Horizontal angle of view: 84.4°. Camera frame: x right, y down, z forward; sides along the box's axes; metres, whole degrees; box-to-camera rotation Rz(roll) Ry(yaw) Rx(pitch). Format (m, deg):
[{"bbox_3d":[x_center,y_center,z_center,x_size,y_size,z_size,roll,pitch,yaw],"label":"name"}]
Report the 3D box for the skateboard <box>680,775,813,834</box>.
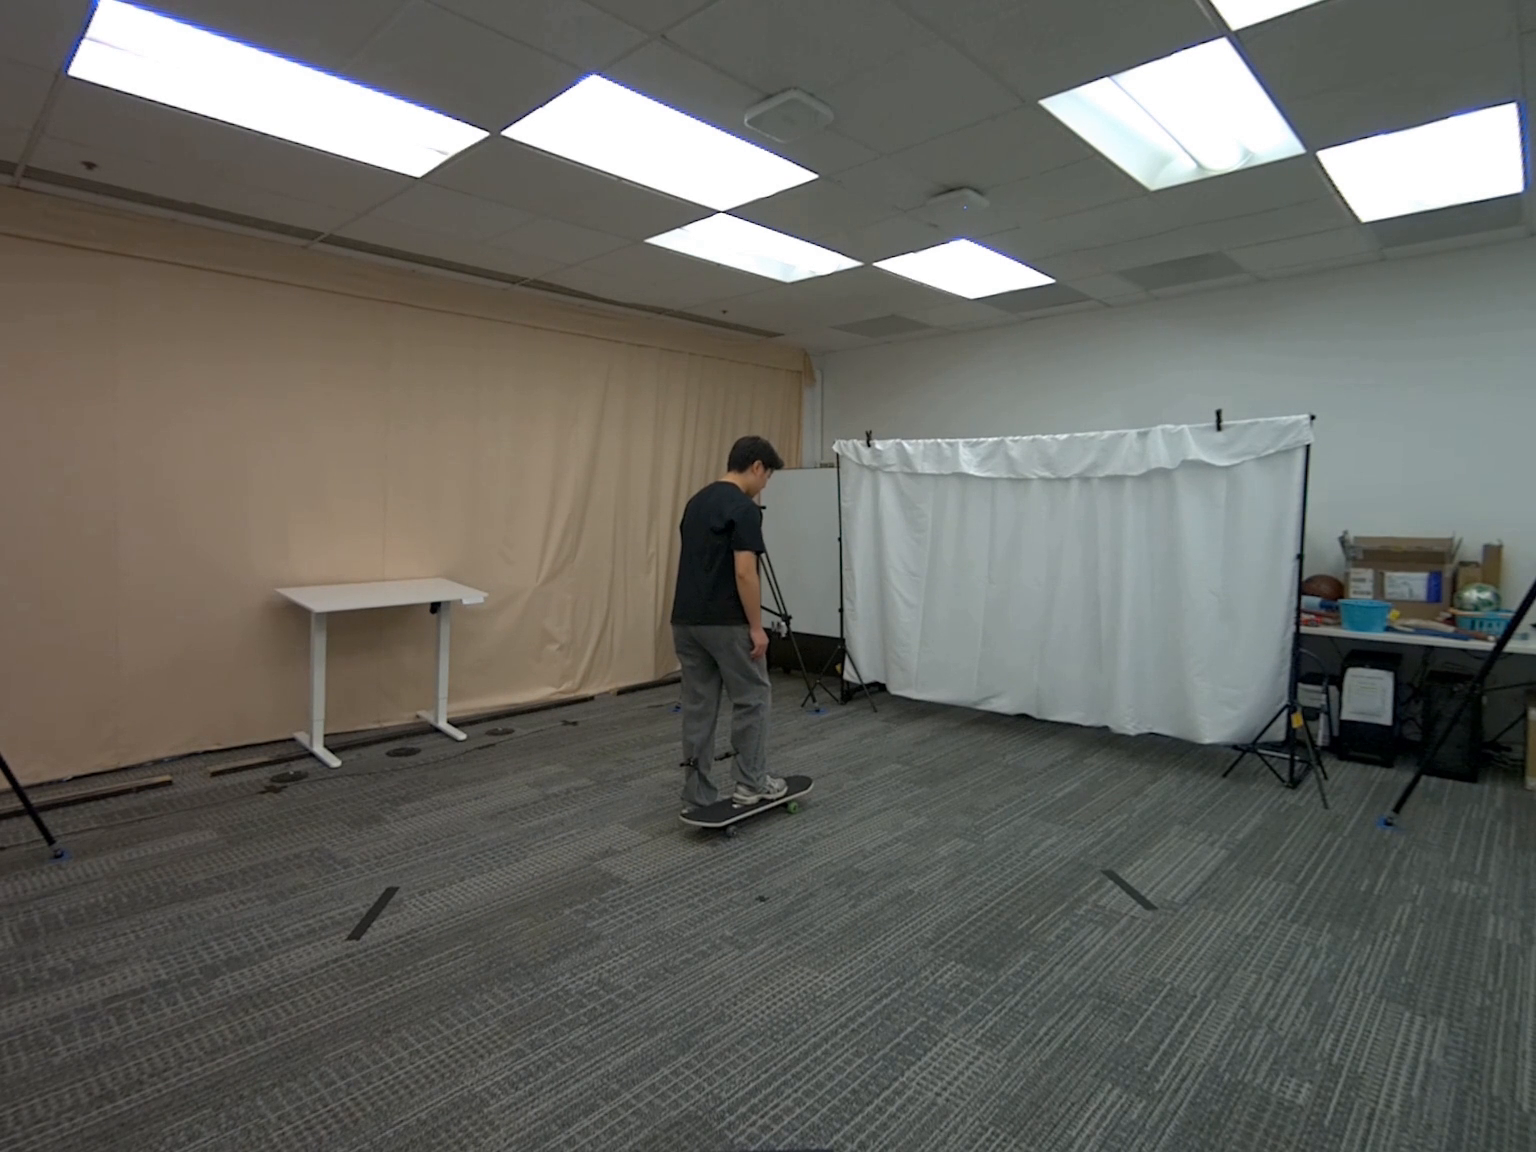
[{"bbox_3d":[-0.071,1.035,3.729,0.200,0.110,0.762,4,7,42],"label":"skateboard"}]
